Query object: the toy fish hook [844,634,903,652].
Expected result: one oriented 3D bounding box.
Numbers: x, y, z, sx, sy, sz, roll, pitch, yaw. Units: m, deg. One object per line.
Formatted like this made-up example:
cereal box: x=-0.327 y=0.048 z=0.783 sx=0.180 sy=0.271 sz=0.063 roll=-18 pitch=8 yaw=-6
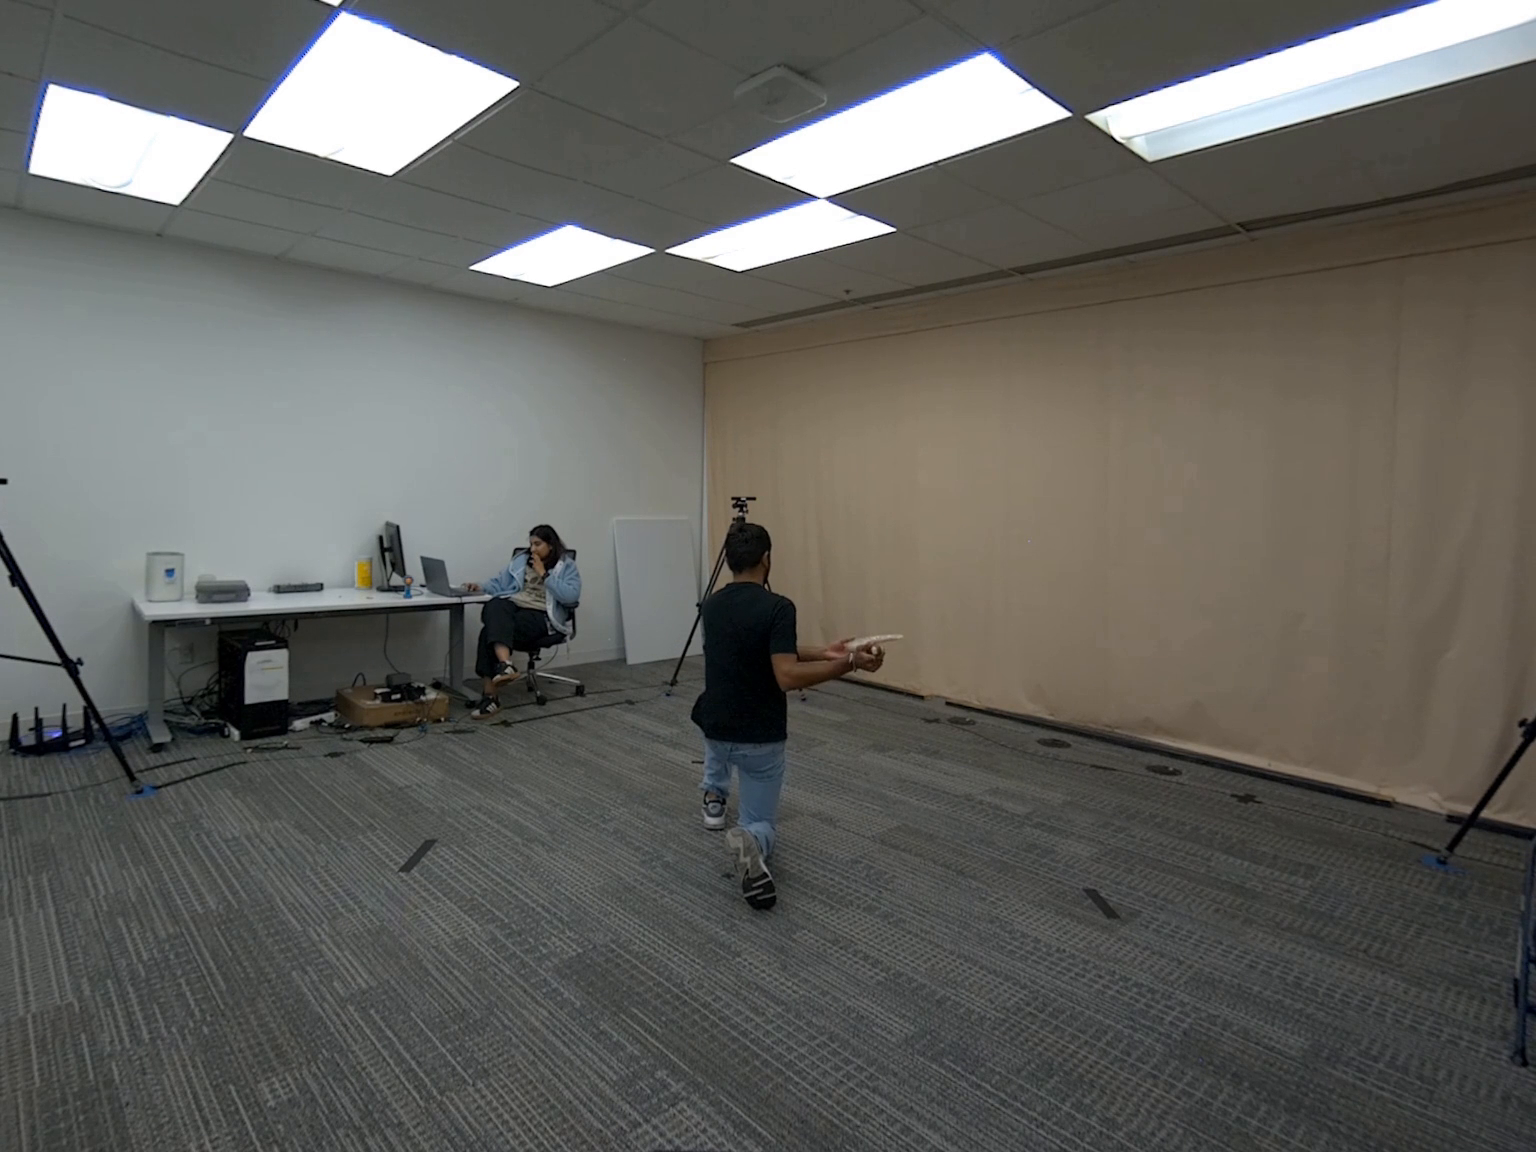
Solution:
toy fish hook: x=0.417 y=0.261 z=3.249 sx=0.224 sy=0.048 sz=0.507 roll=-16 pitch=0 yaw=-3
